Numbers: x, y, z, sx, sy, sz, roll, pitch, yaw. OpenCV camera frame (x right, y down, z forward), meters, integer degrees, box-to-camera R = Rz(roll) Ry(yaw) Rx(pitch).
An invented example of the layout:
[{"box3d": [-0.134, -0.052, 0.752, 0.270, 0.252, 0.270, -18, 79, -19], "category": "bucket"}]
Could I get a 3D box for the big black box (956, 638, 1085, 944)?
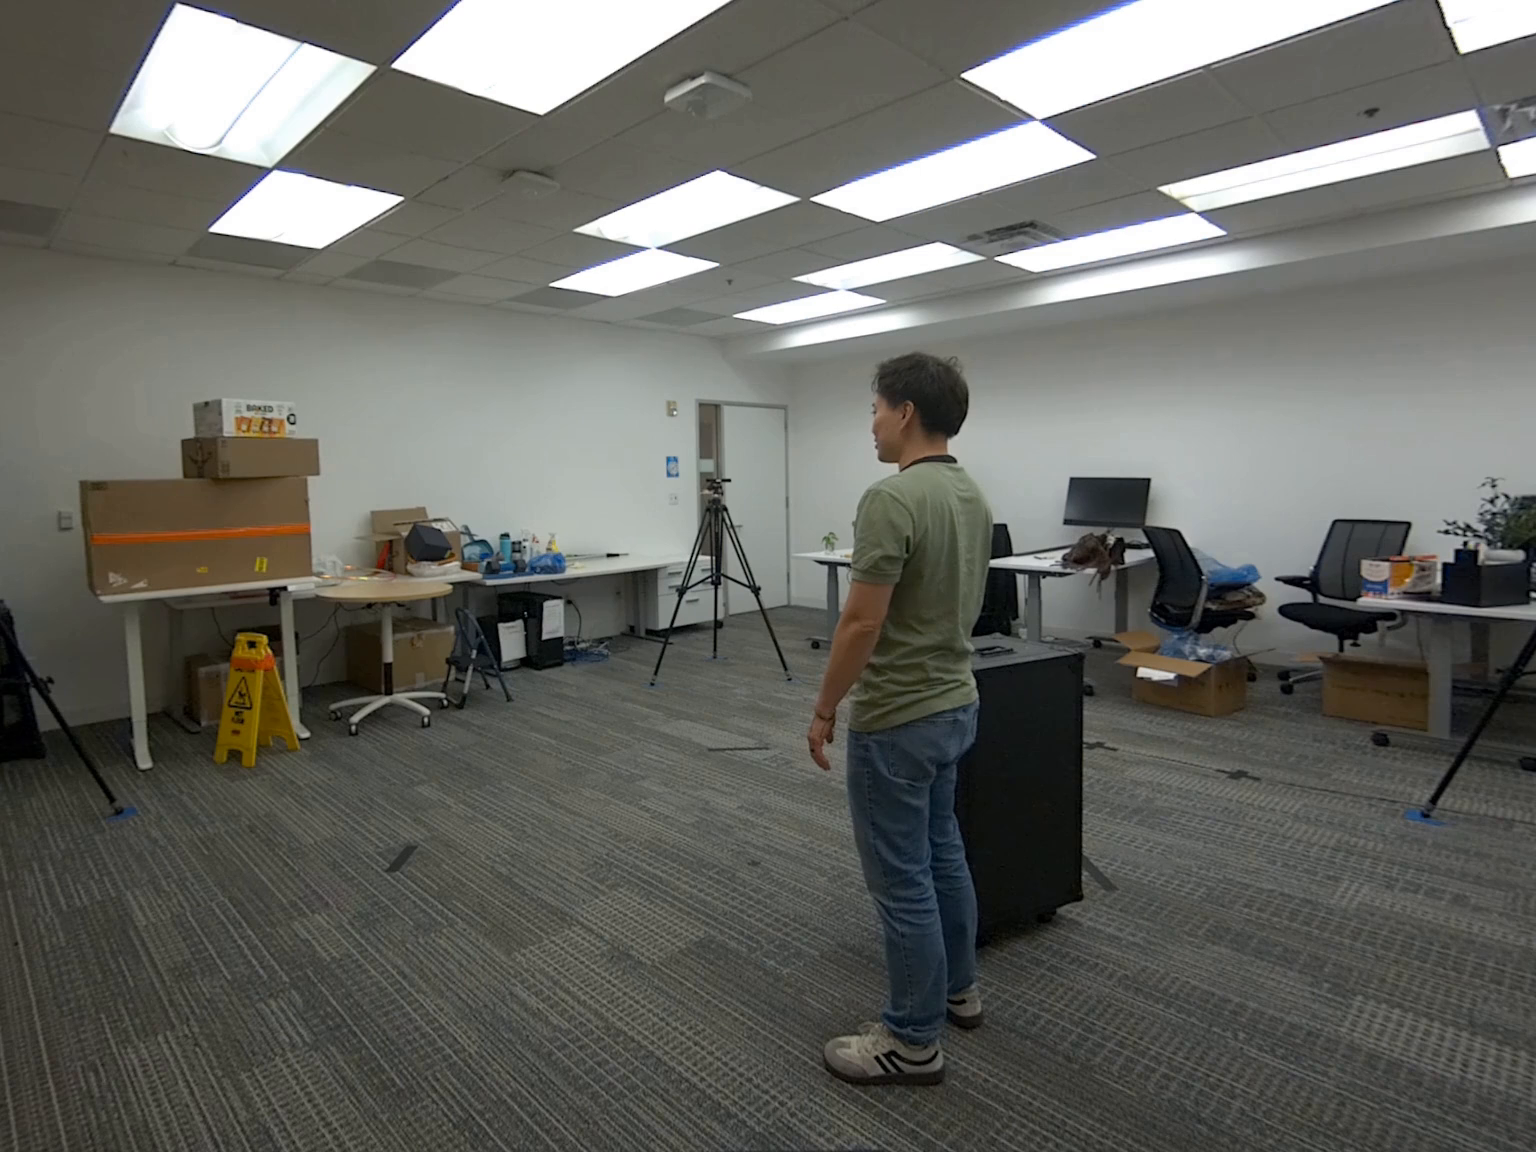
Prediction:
[{"box3d": [0.676, 0.651, 2.684, 0.509, 0.859, 0.406, -4, 4, -29], "category": "big black box"}]
